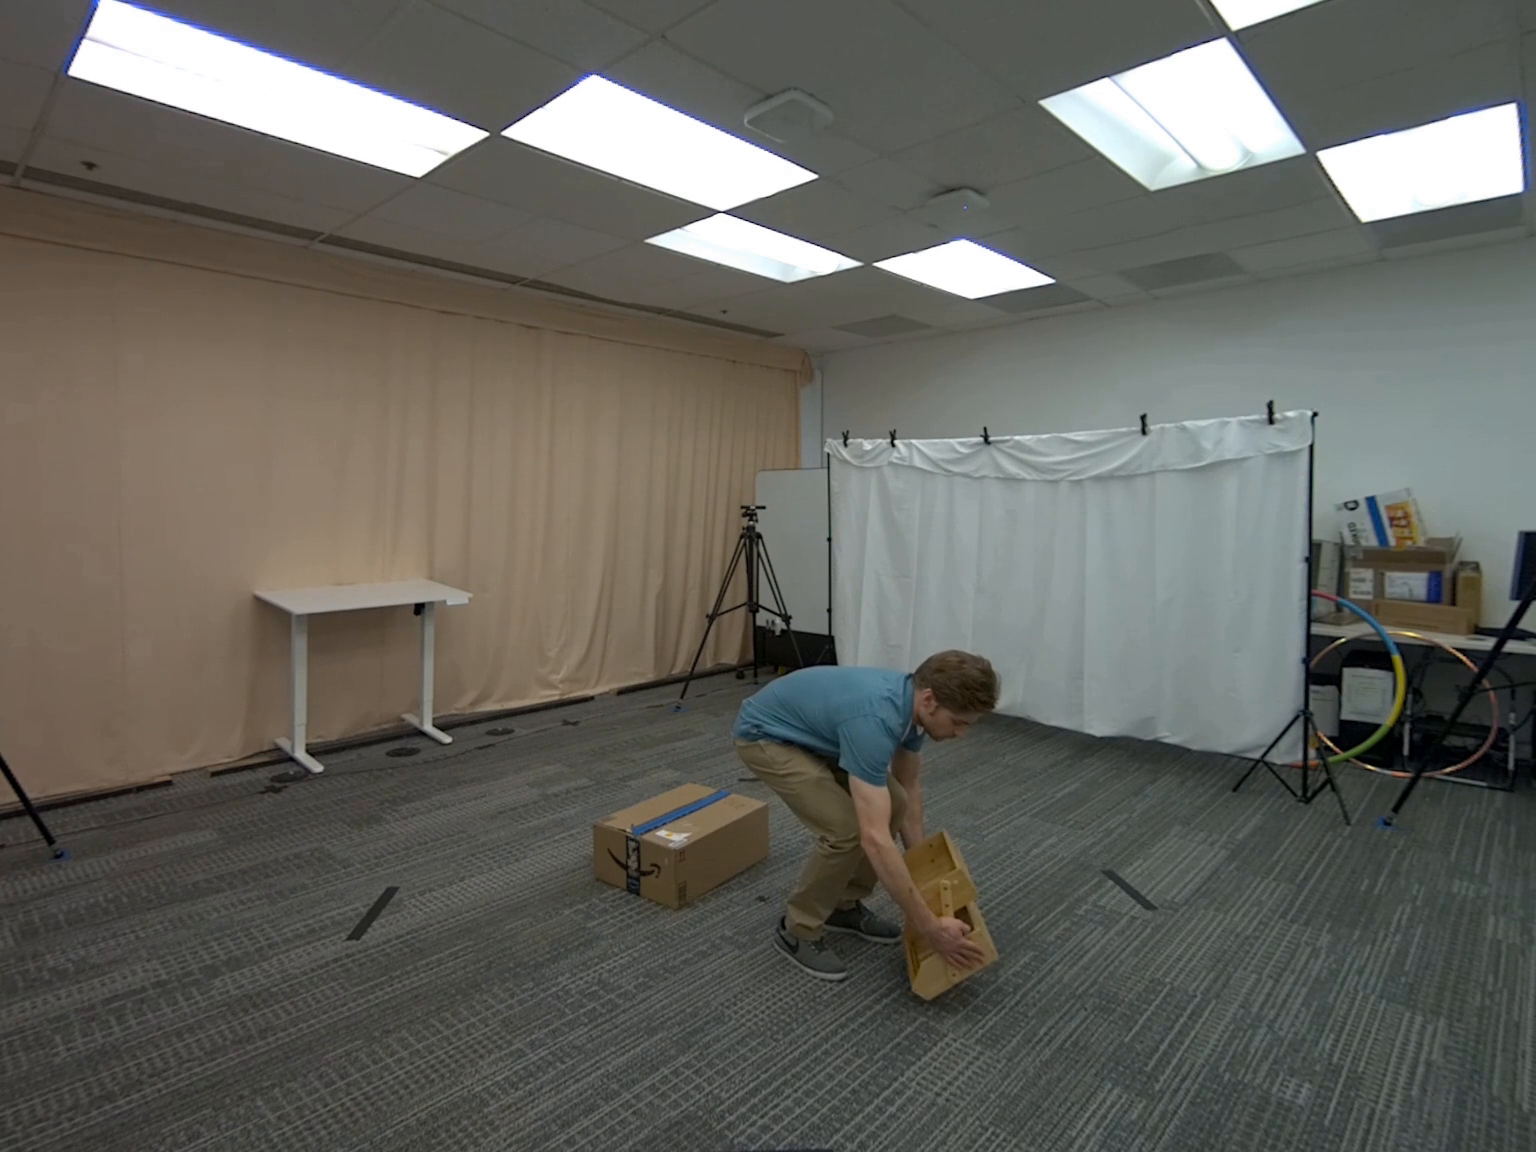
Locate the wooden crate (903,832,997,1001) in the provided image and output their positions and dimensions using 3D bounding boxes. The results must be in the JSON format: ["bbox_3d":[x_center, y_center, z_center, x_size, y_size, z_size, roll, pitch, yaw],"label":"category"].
[{"bbox_3d":[0.485,0.976,2.442,0.303,0.274,0.322,-35,-1,7],"label":"wooden crate"}]
